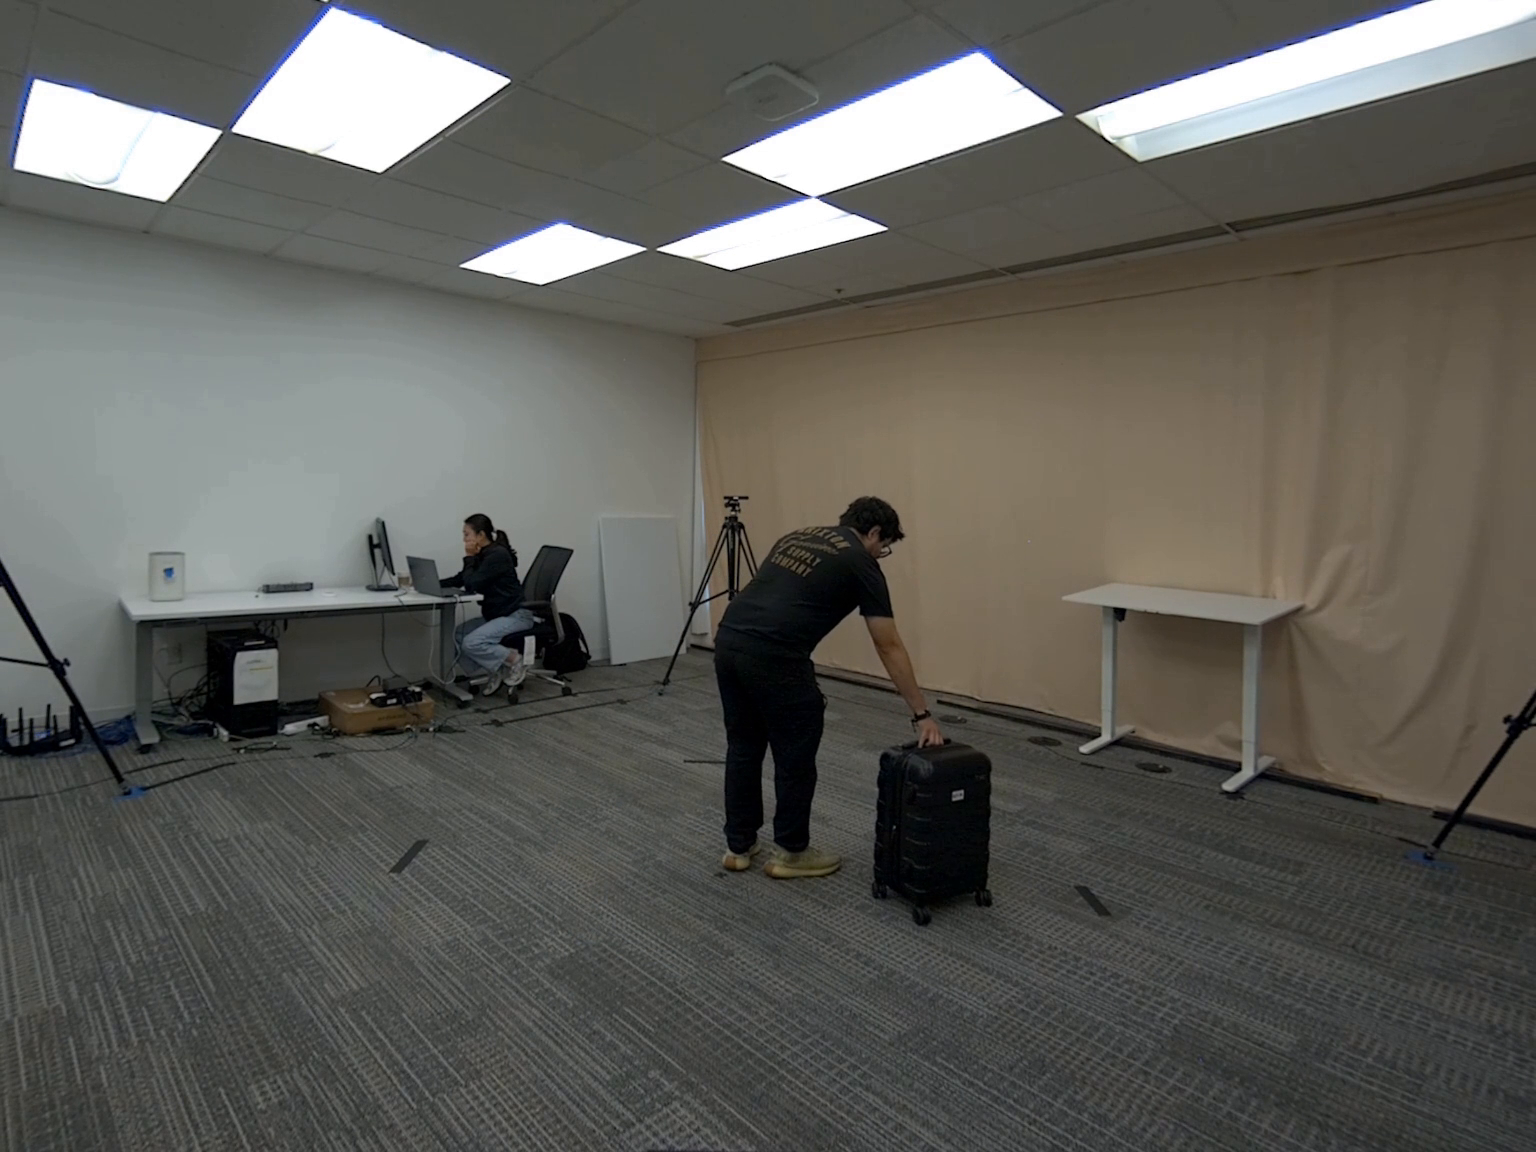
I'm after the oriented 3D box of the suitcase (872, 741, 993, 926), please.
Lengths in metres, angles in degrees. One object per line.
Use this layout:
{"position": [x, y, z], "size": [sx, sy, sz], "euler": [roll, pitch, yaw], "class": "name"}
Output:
{"position": [0.575, 0.866, 2.935], "size": [0.367, 0.548, 0.254], "euler": [0, 2, -32], "class": "suitcase"}
